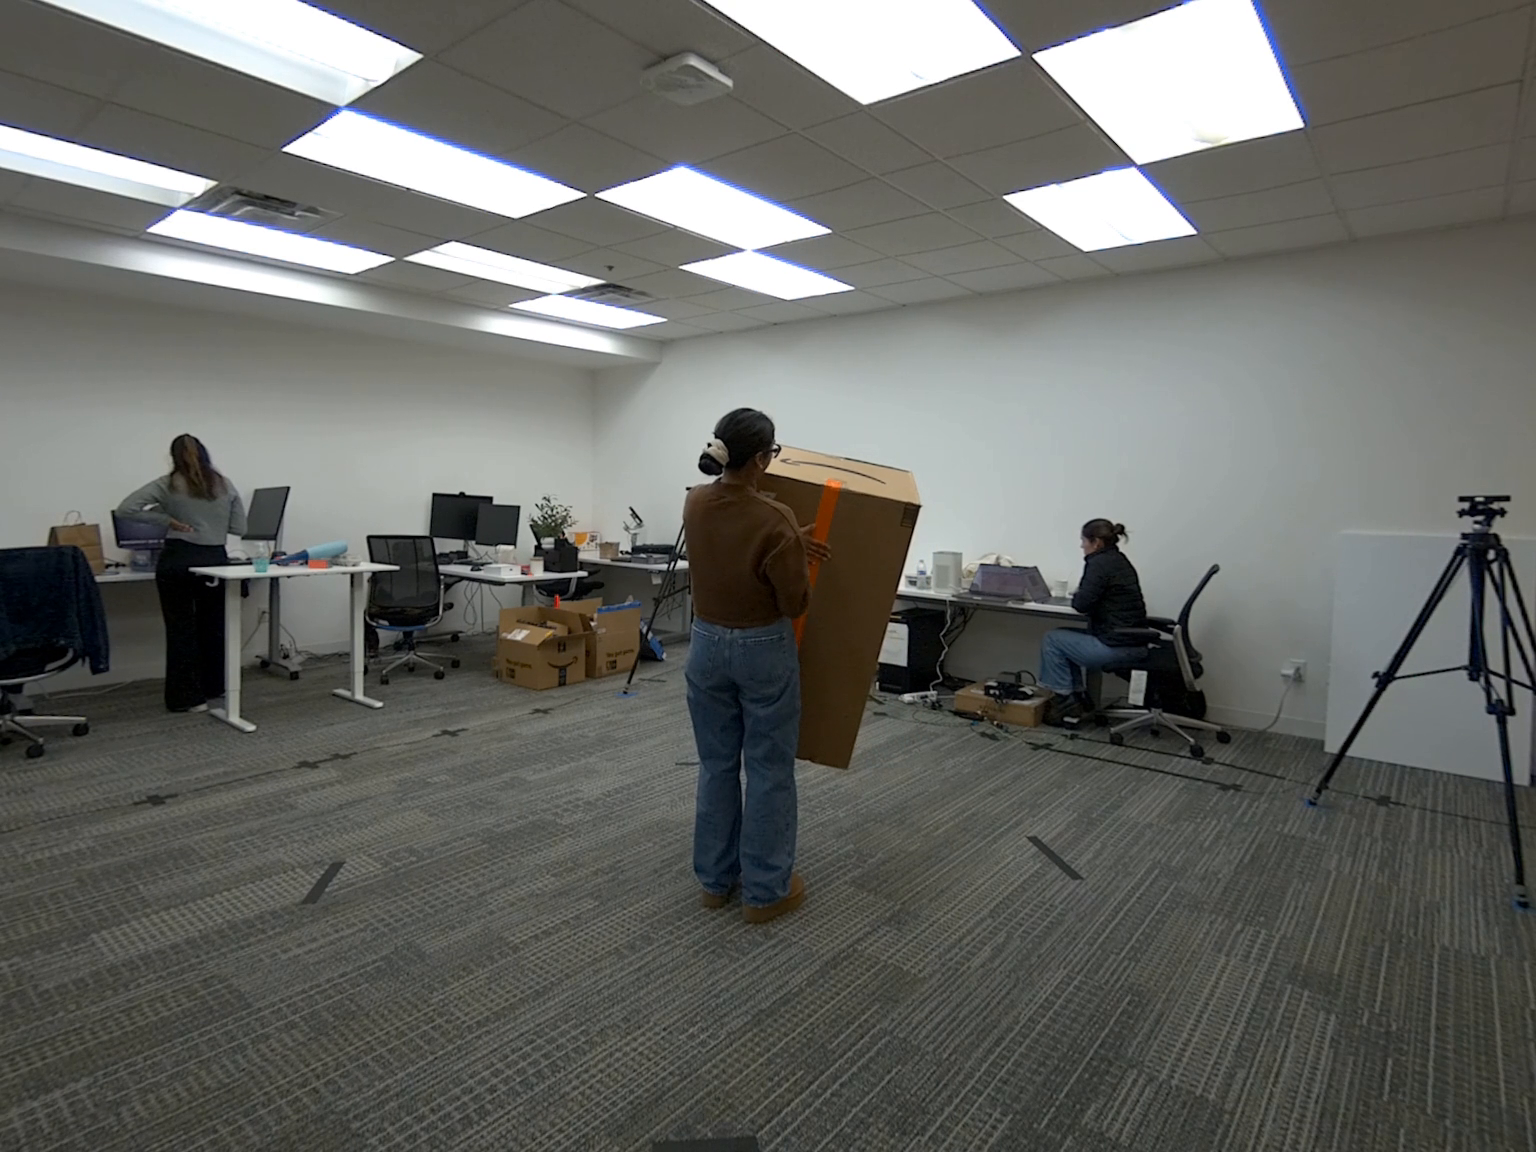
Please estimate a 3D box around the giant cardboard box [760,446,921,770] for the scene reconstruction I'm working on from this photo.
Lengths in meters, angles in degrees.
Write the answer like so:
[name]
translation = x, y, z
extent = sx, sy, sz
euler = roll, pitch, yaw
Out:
[giant cardboard box]
translation = 0.124, 0.095, 3.099
extent = 0.581, 1.011, 0.430
euler = 13, 21, 3
